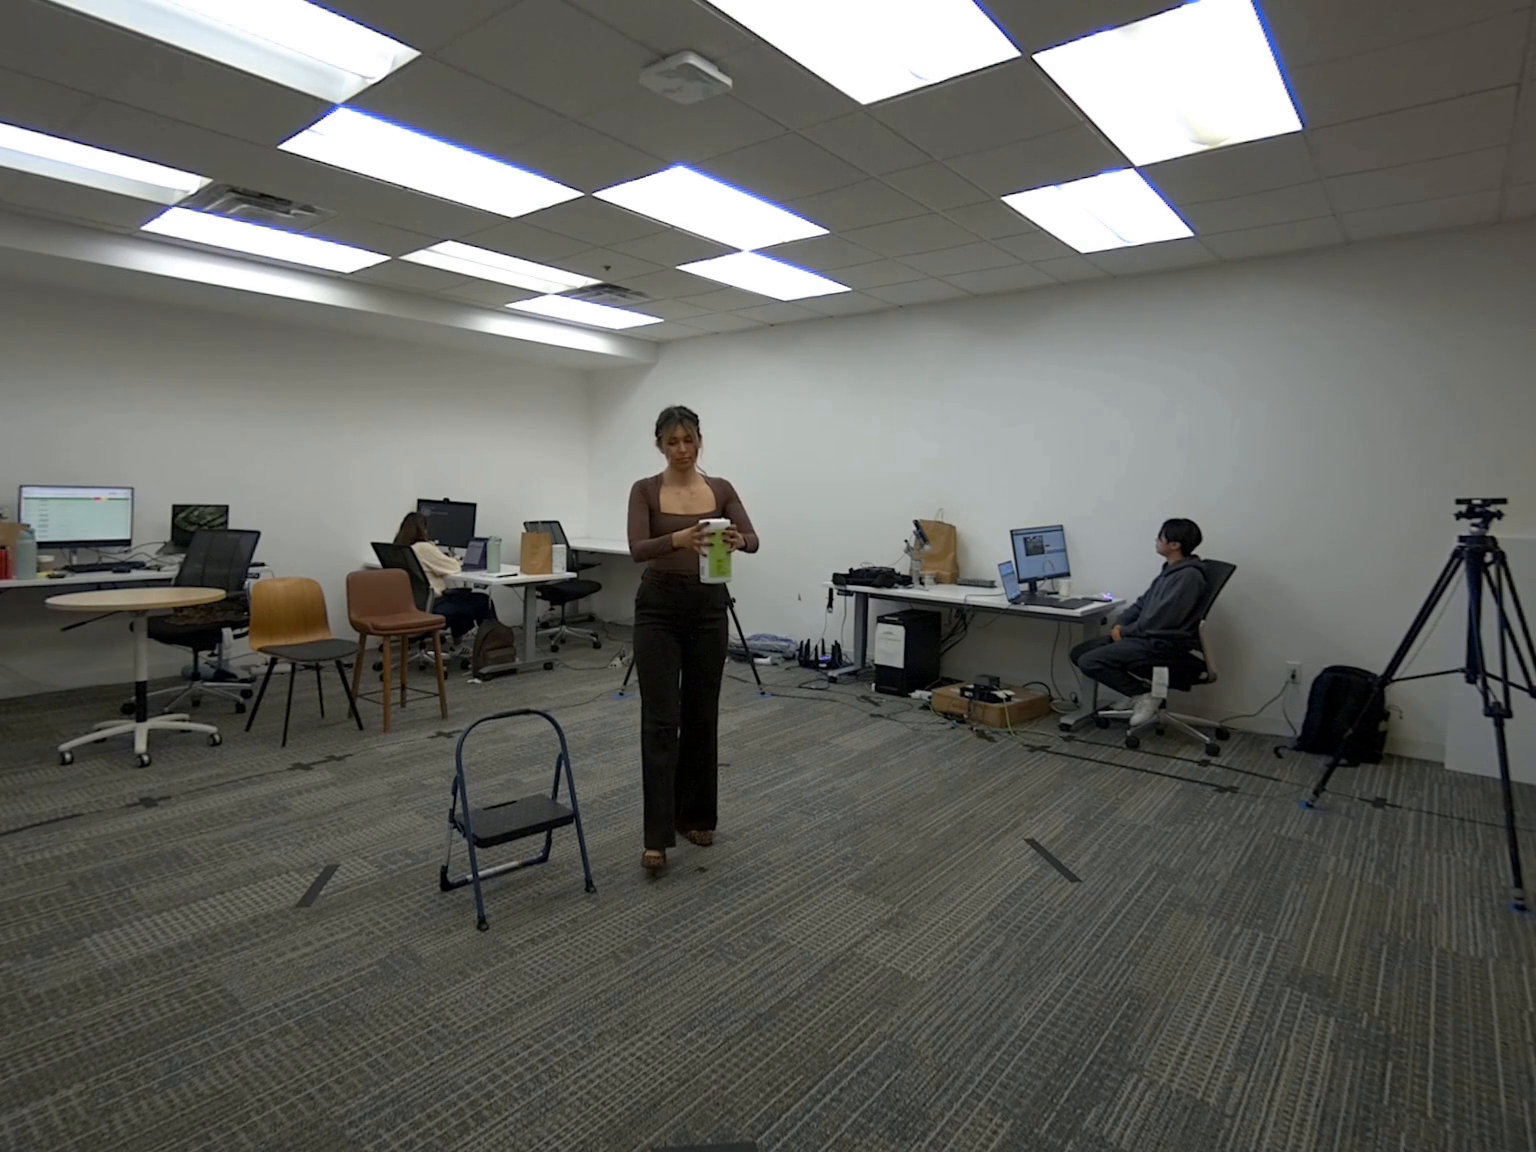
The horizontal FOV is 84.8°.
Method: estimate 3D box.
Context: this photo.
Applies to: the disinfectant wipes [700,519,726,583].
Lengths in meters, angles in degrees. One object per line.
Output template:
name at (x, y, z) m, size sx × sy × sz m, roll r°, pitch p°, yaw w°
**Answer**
disinfectant wipes at (-0.211, -0.096, 2.942) m, size 0.118 × 0.216 × 0.118 m, roll -1°, pitch 6°, yaw -2°
